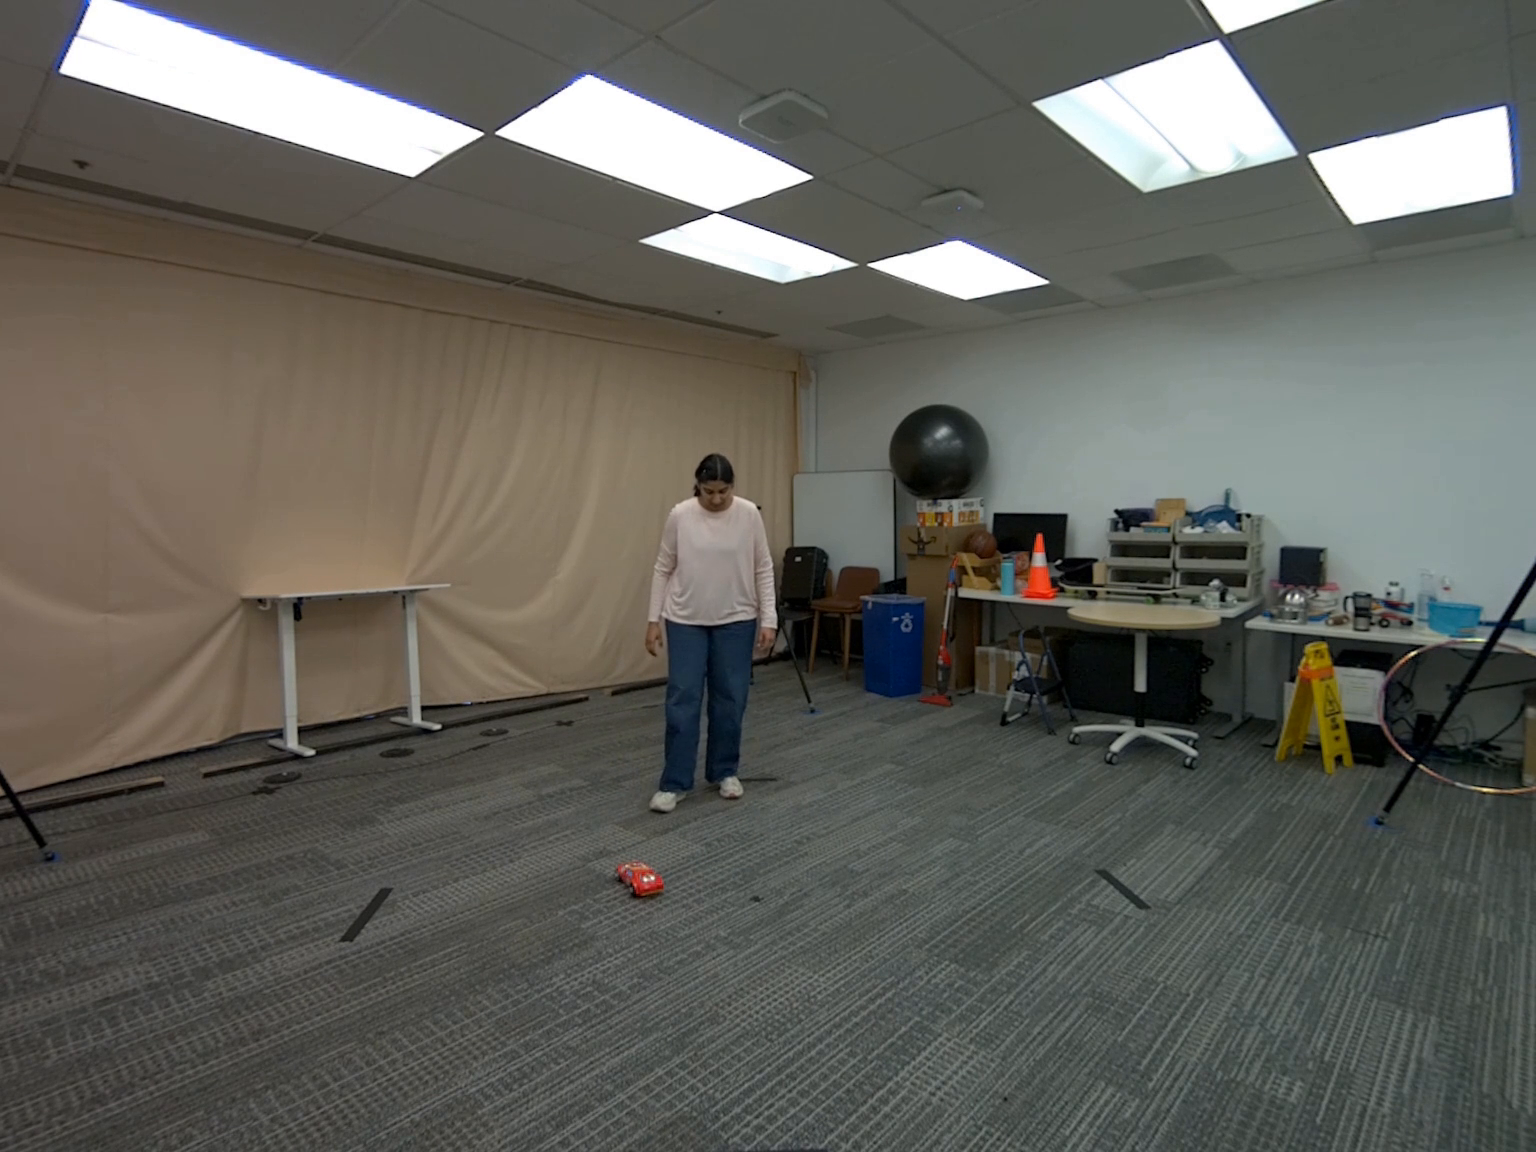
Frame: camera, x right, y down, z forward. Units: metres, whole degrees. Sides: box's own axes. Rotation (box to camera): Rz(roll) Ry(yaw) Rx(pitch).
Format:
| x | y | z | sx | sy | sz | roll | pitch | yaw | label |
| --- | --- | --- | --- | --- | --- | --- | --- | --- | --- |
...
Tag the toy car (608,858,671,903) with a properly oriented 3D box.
| x | y | z | sx | sy | sz | roll | pitch | yaw | label |
| --- | --- | --- | --- | --- | --- | --- | --- | --- | --- |
| -0.470 | 1.099 | 3.073 | 0.127 | 0.083 | 0.260 | -3 | -6 | -31 | toy car |
